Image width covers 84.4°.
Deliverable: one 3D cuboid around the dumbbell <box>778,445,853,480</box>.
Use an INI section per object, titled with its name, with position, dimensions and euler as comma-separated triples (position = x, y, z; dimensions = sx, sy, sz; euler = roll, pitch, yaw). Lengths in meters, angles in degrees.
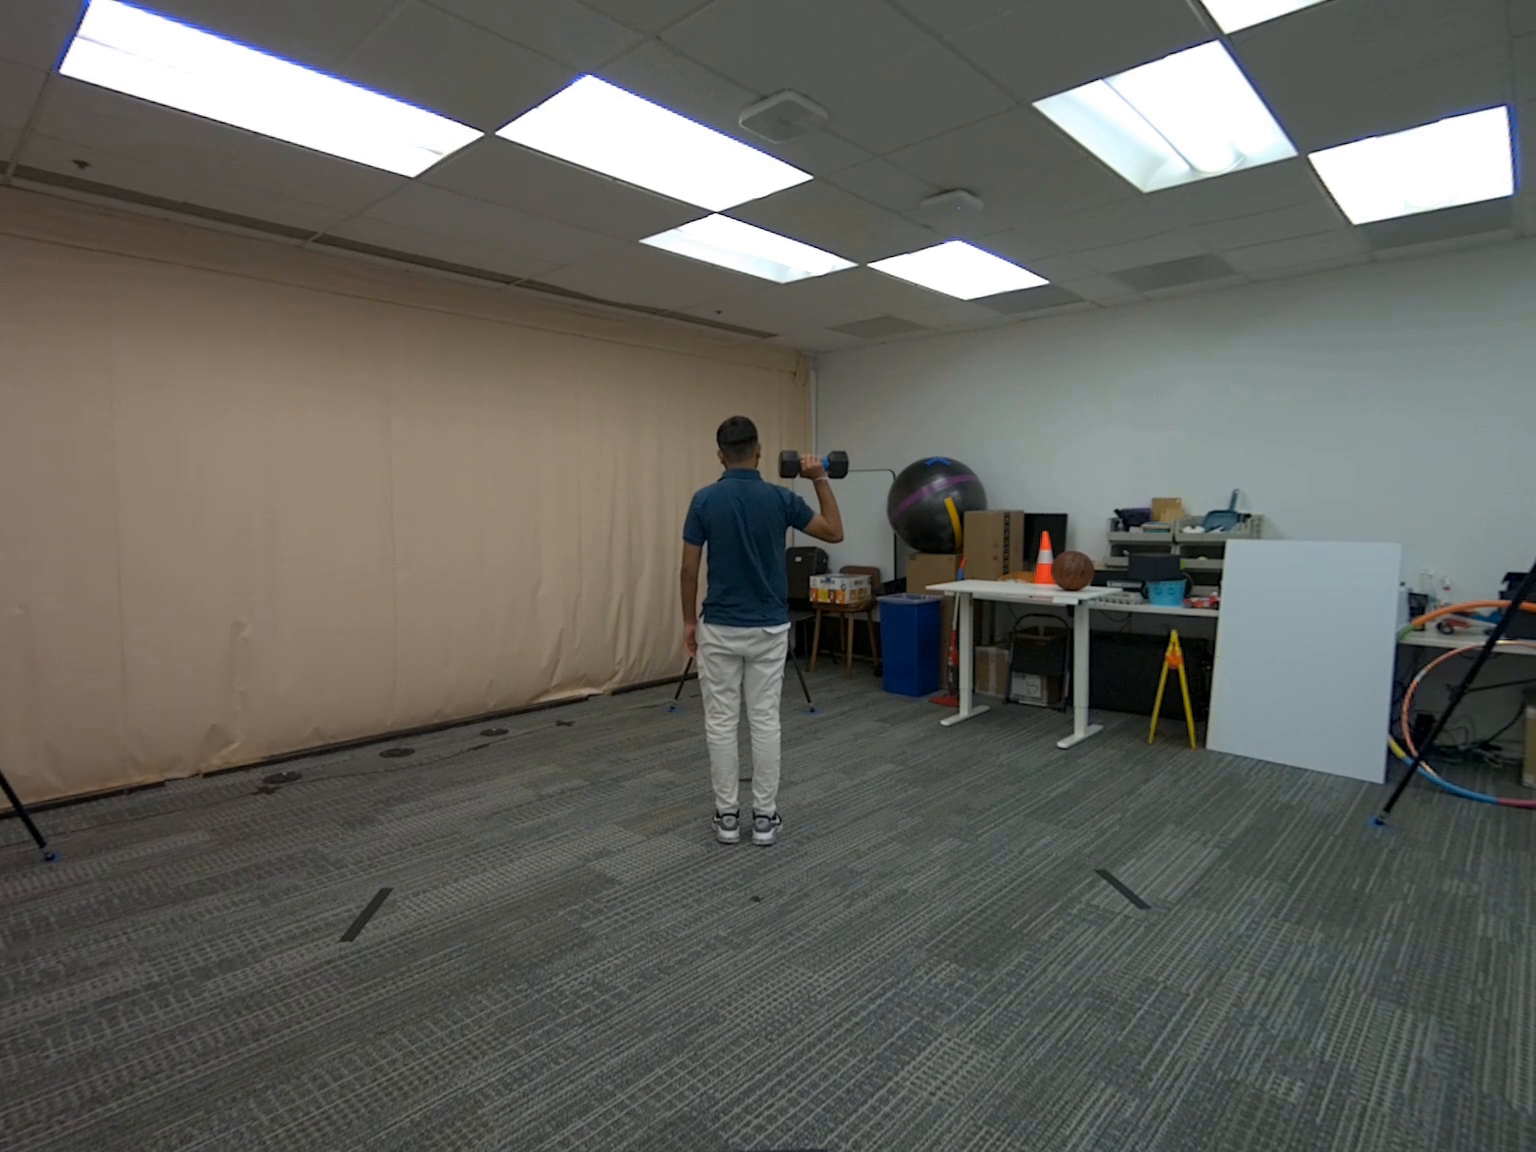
[dumbbell]
position = 0.197, -0.484, 3.601
dimensions = 0.293, 0.109, 0.122
euler = -1, -11, -1
